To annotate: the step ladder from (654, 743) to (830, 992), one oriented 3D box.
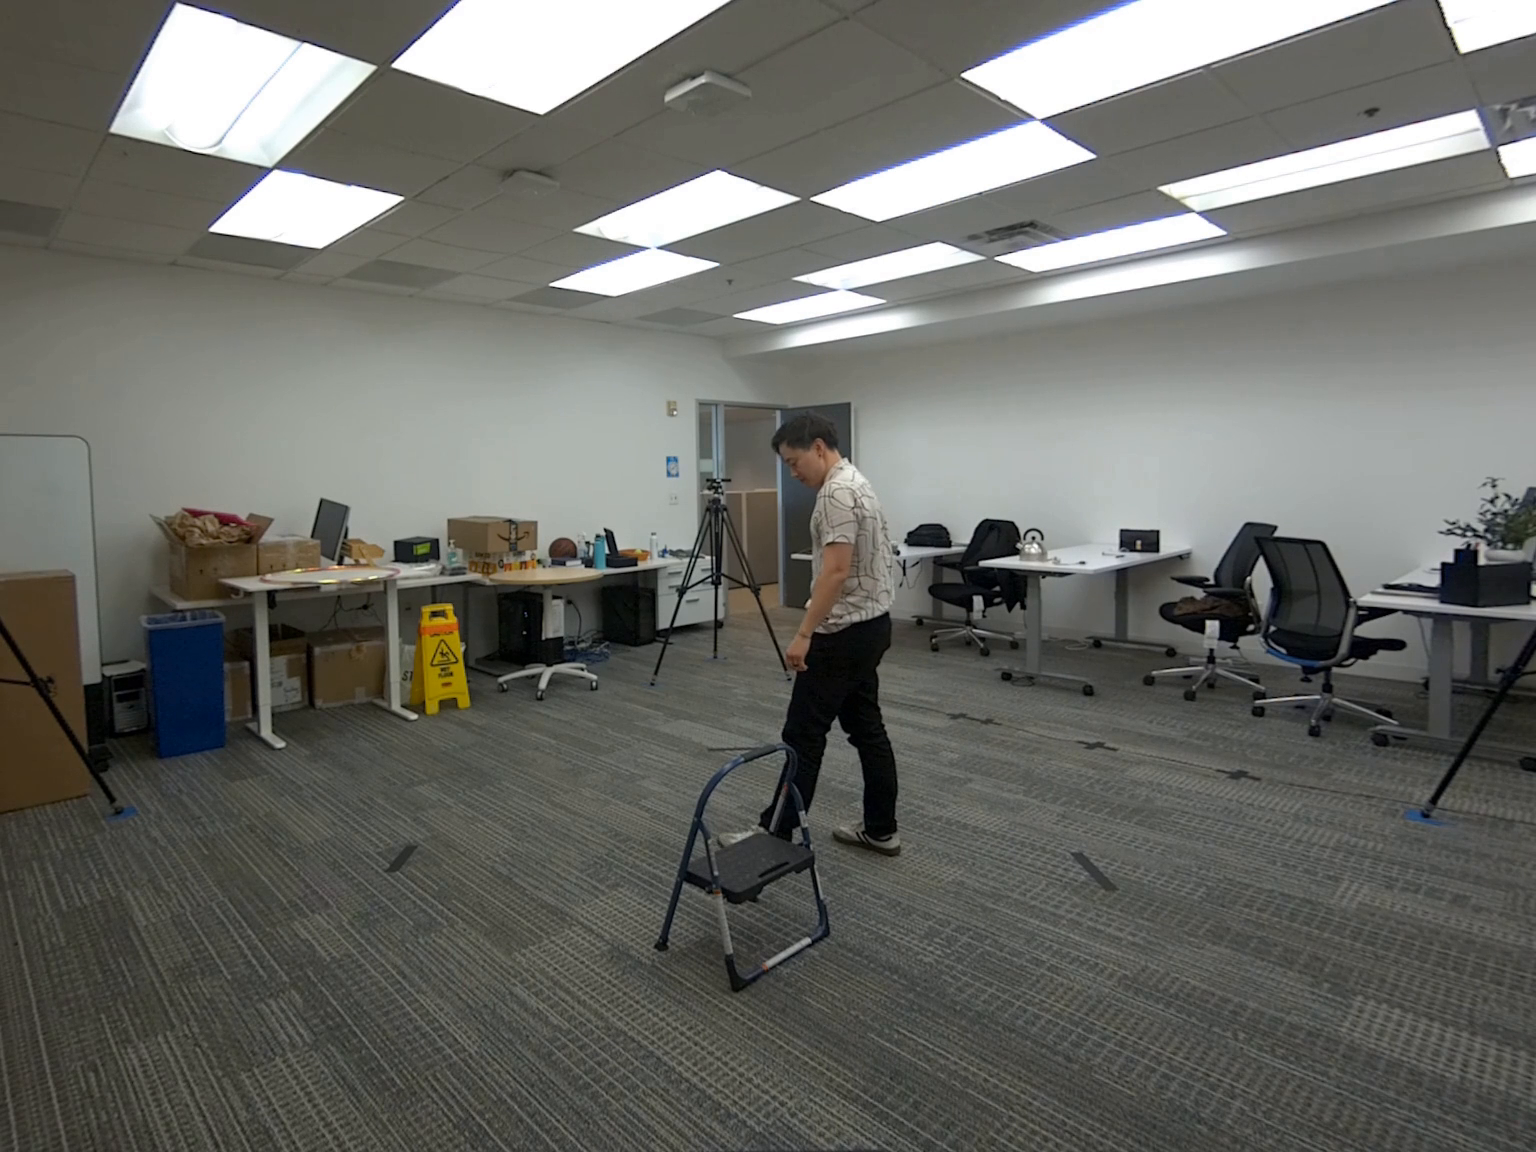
[{"bbox_3d":[-0.075,0.803,2.567,0.360,0.603,0.419,4,7,43],"label":"step ladder"}]
